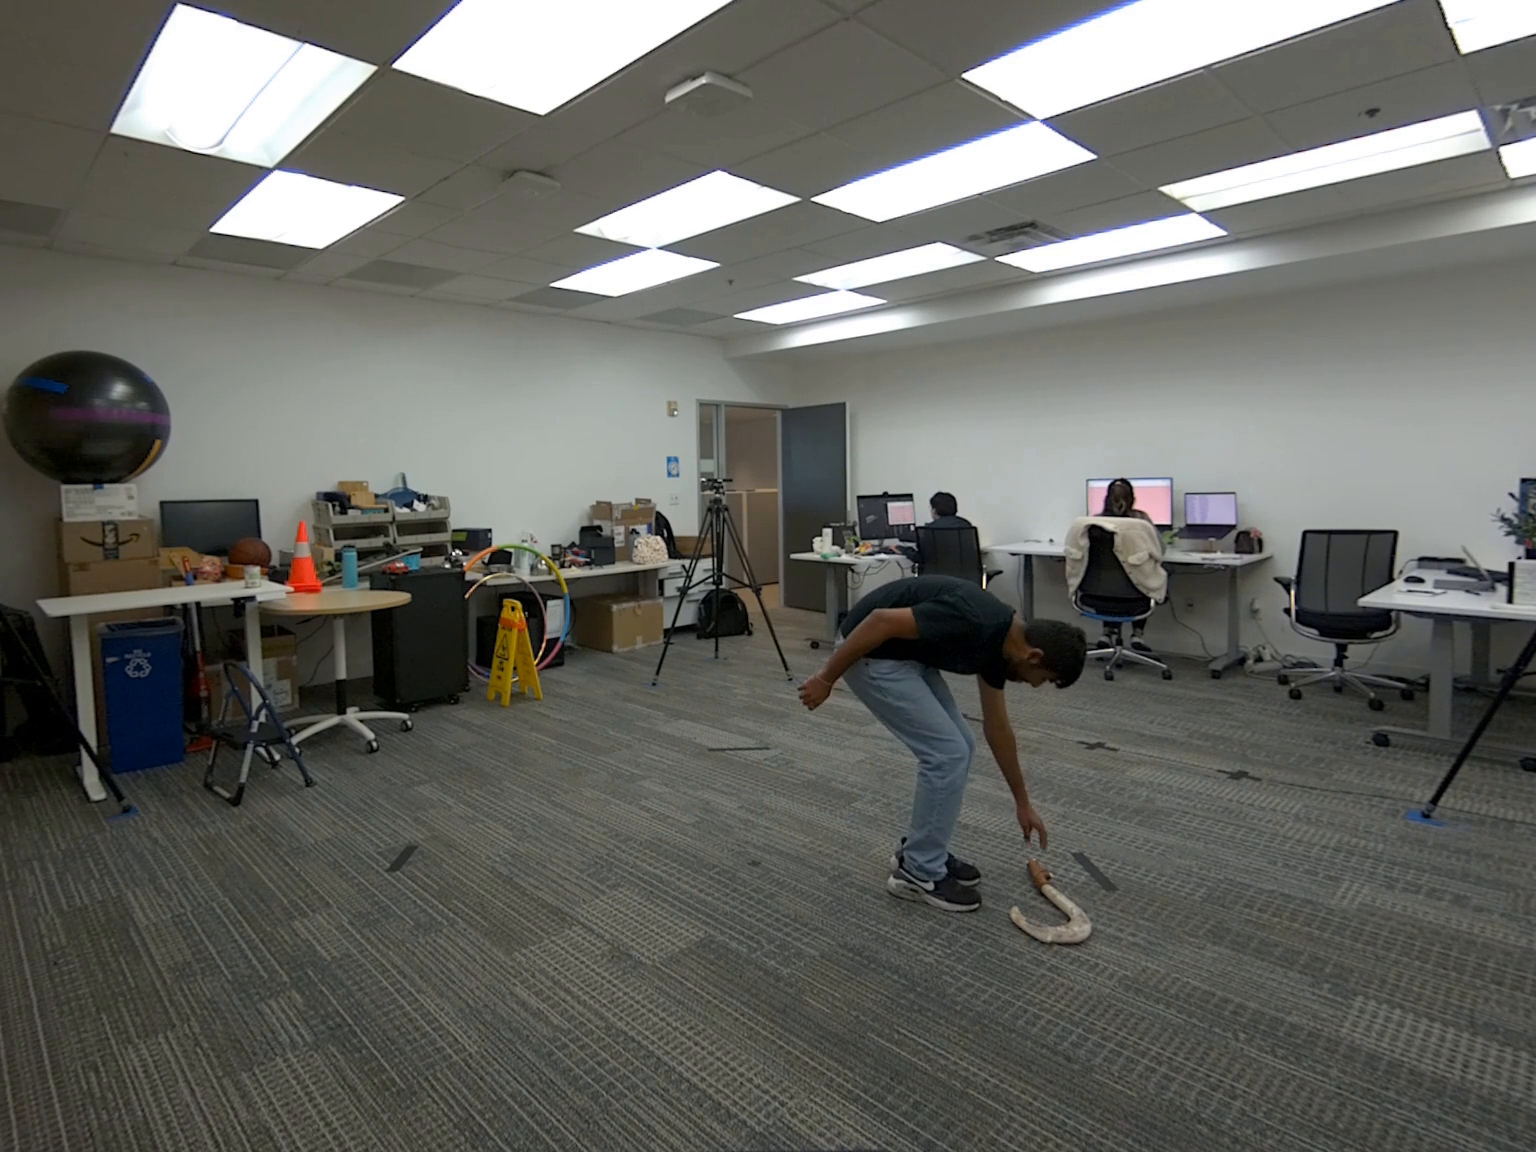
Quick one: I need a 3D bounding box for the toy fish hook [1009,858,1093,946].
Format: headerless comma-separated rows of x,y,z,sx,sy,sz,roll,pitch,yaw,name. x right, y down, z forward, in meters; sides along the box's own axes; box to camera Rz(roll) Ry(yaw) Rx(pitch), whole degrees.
0.875,1.042,2.772,0.225,0.048,0.507,-1,6,1,toy fish hook
